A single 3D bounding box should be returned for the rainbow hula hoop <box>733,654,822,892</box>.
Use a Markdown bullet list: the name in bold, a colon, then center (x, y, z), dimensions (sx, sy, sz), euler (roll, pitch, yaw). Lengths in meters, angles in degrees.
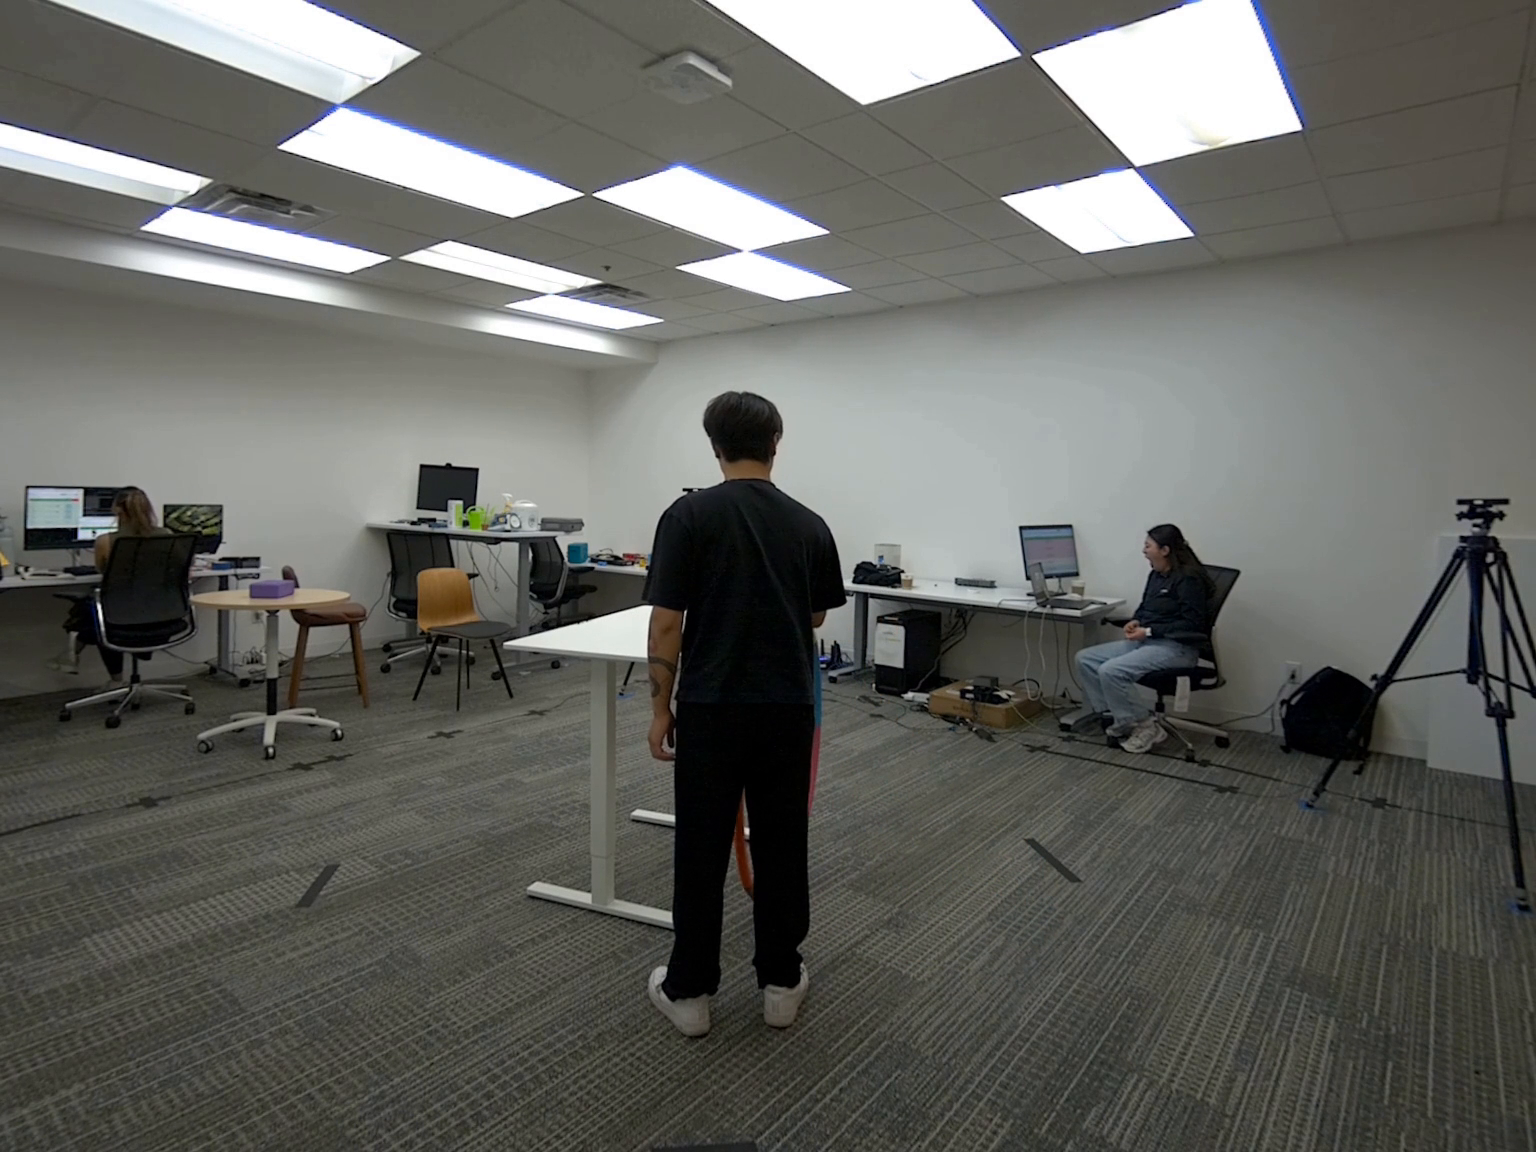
- **rainbow hula hoop**: center (0.040, 0.587, 2.893), dimensions (0.036, 0.976, 0.962), euler (2, 4, 17)
